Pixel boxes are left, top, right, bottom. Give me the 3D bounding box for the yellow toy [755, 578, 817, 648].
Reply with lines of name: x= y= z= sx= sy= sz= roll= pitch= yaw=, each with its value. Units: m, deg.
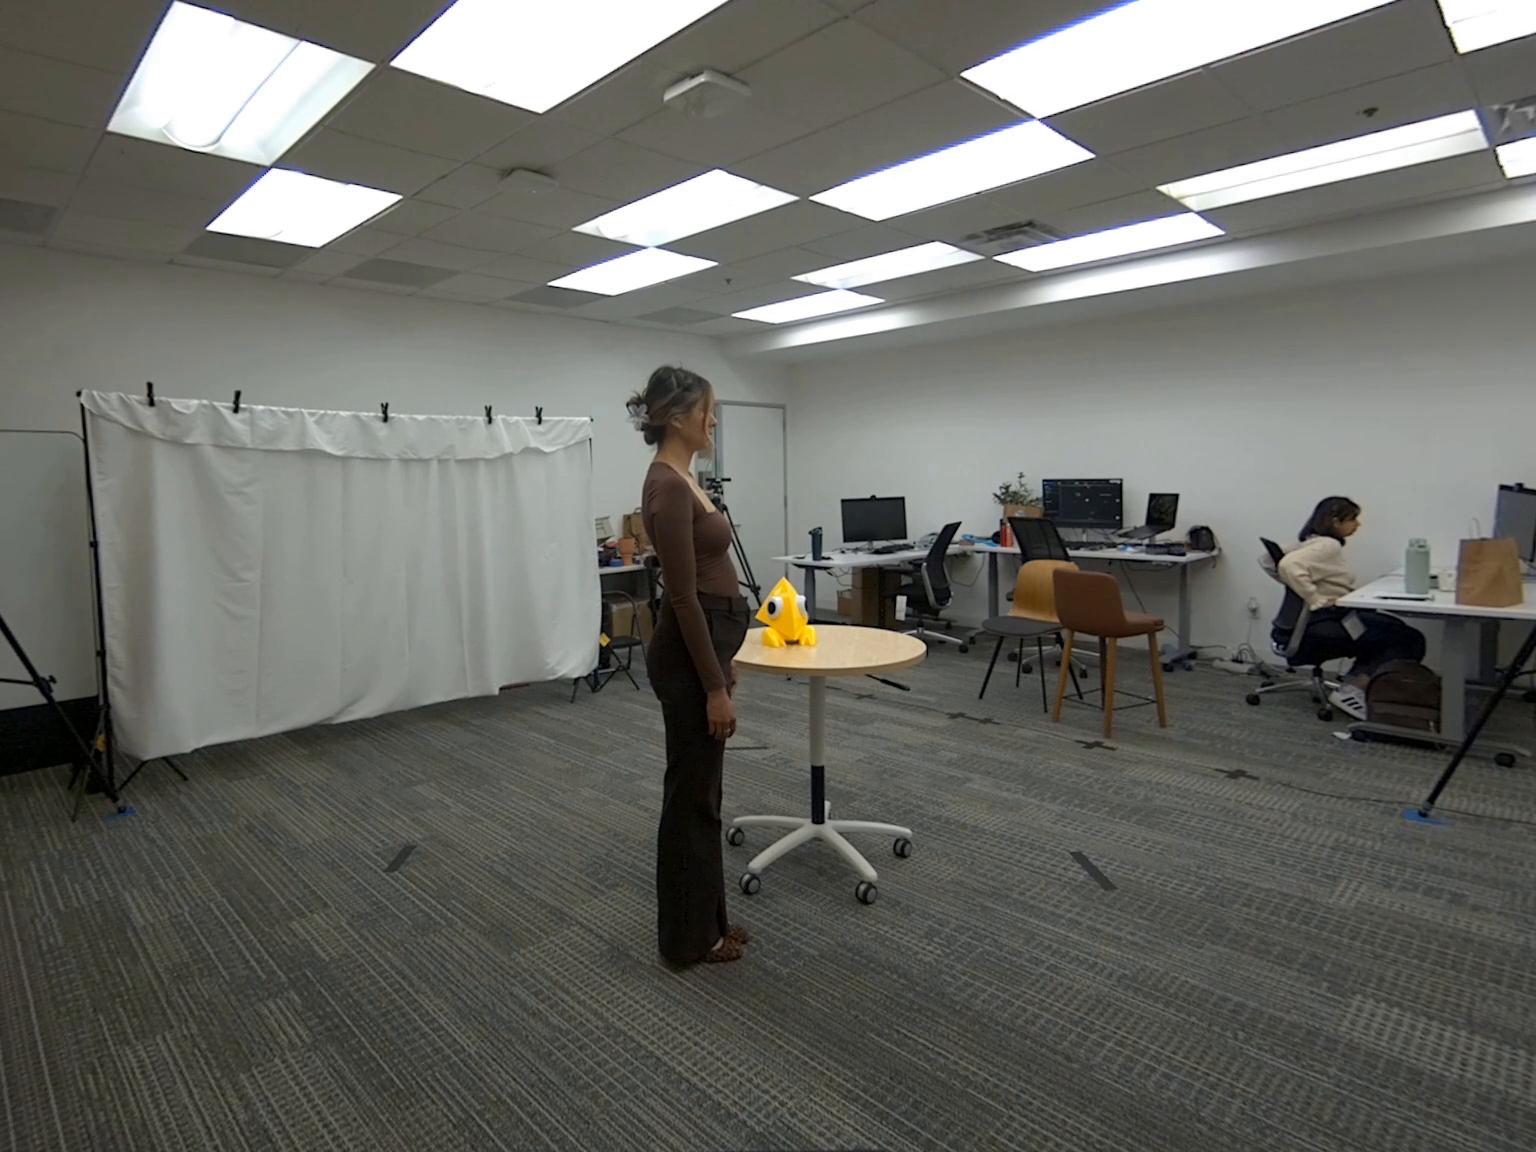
yellow toy: x=0.079 y=0.126 z=3.109 sx=0.202 sy=0.230 sz=0.196 roll=-2 pitch=5 yaw=-12
